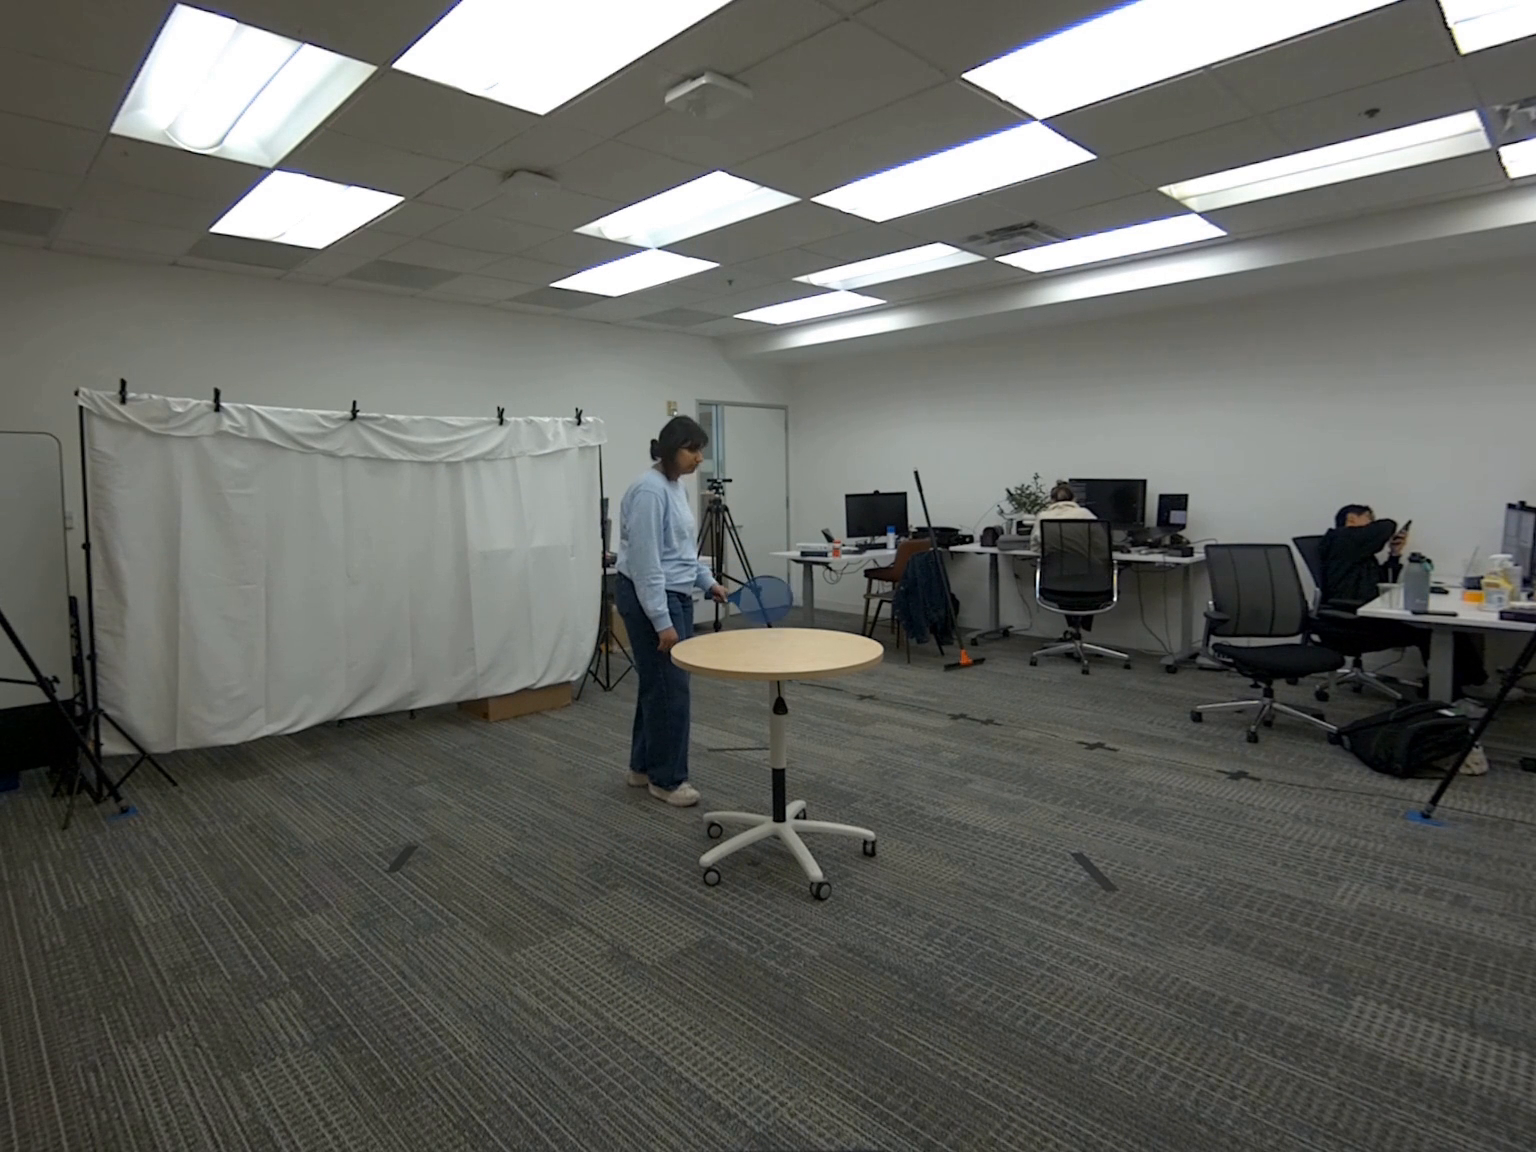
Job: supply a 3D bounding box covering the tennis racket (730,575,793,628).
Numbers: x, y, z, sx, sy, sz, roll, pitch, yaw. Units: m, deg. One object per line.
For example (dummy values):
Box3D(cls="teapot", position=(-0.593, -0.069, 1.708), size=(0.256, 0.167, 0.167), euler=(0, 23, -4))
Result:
Box3D(cls="tennis racket", position=(-0.106, 0.096, 3.843), size=(0.443, 0.216, 0.031), euler=(2, -15, 25))
